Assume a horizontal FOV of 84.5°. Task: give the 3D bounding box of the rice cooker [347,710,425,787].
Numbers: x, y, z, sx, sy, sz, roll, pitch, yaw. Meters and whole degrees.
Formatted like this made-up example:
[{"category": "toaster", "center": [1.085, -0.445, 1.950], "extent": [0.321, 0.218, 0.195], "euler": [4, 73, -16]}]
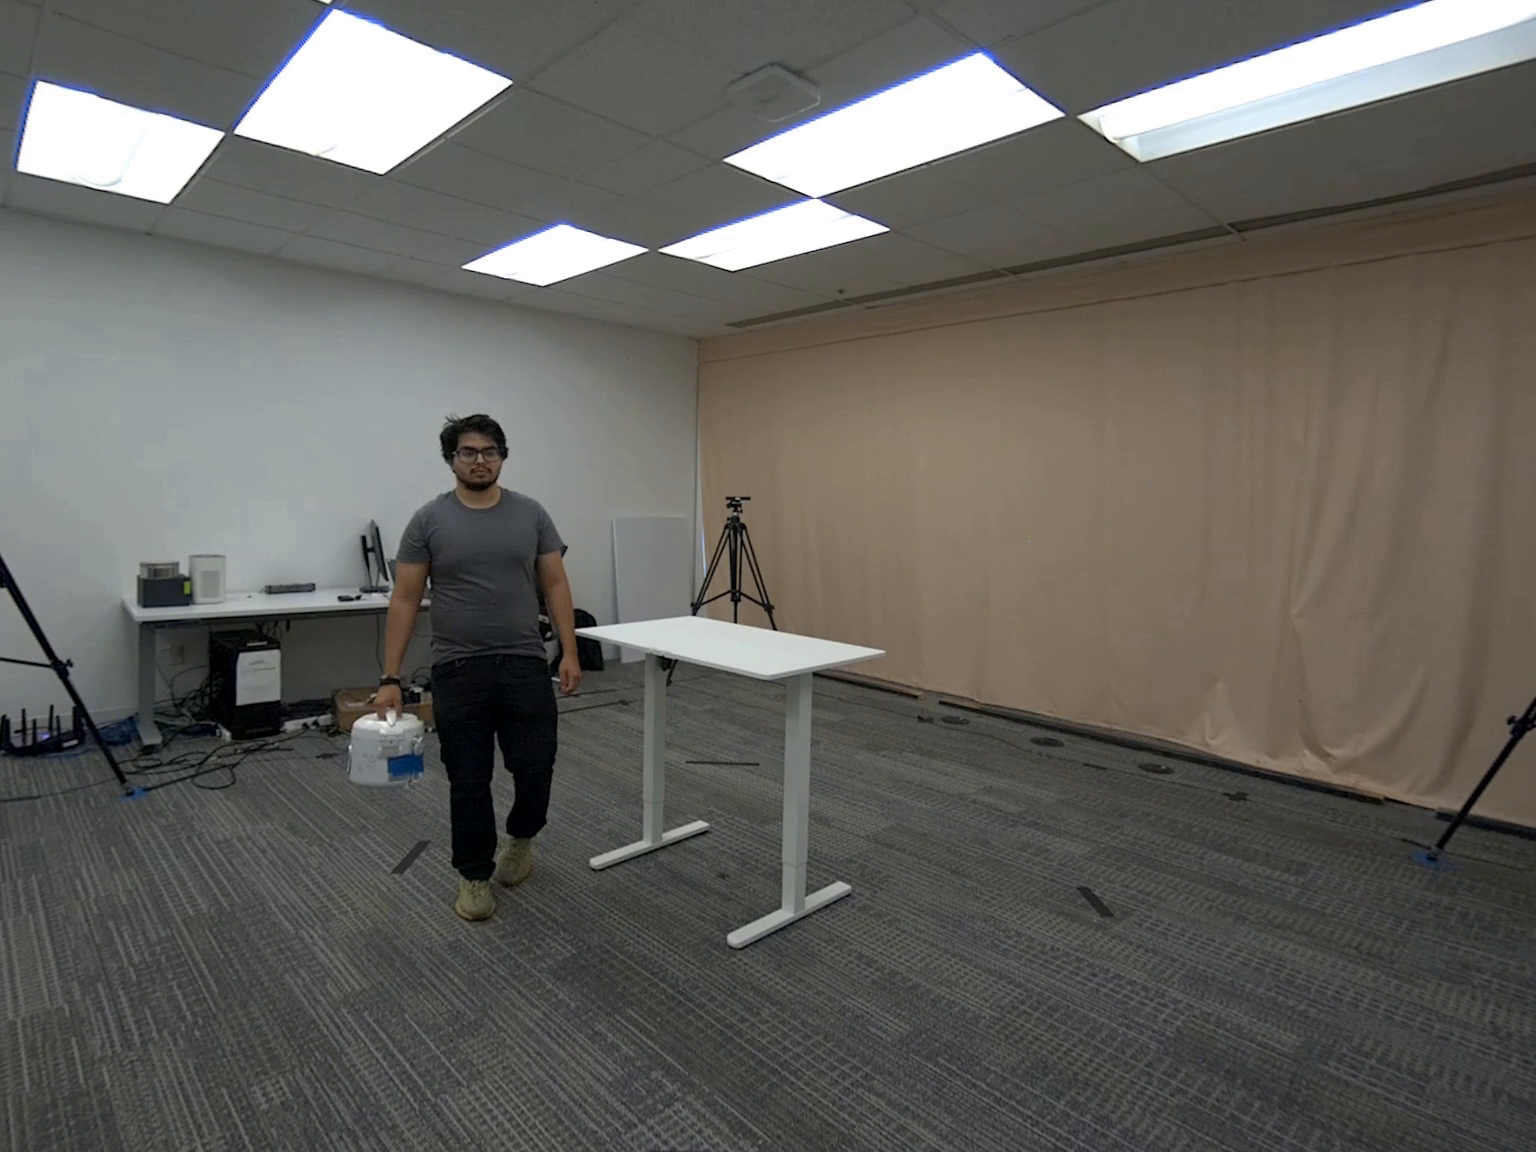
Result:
[{"category": "rice cooker", "center": [-1.190, 0.532, 2.628], "extent": [0.213, 0.233, 0.225], "euler": [4, -1, -27]}]
